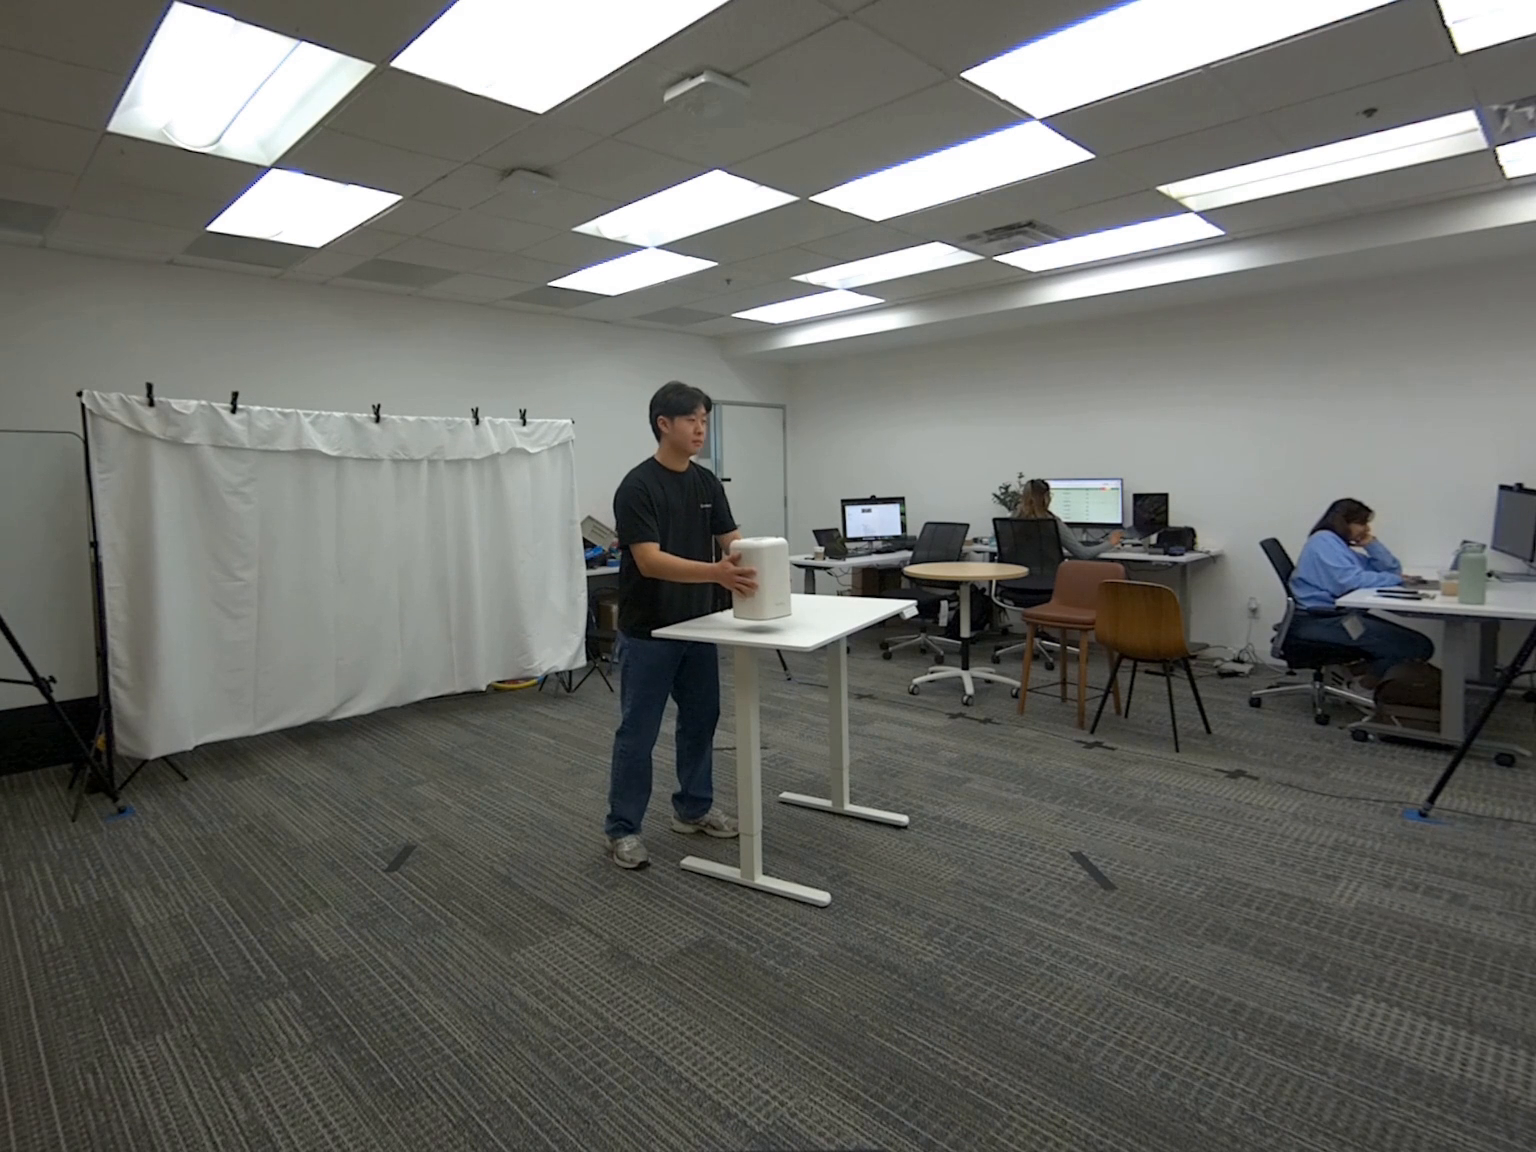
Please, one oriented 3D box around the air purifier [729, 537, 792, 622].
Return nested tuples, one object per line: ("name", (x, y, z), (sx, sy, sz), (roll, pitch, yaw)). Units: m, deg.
("air purifier", (-0.028, 0.004, 2.901), (0.167, 0.264, 0.177), (-6, 6, -40))
